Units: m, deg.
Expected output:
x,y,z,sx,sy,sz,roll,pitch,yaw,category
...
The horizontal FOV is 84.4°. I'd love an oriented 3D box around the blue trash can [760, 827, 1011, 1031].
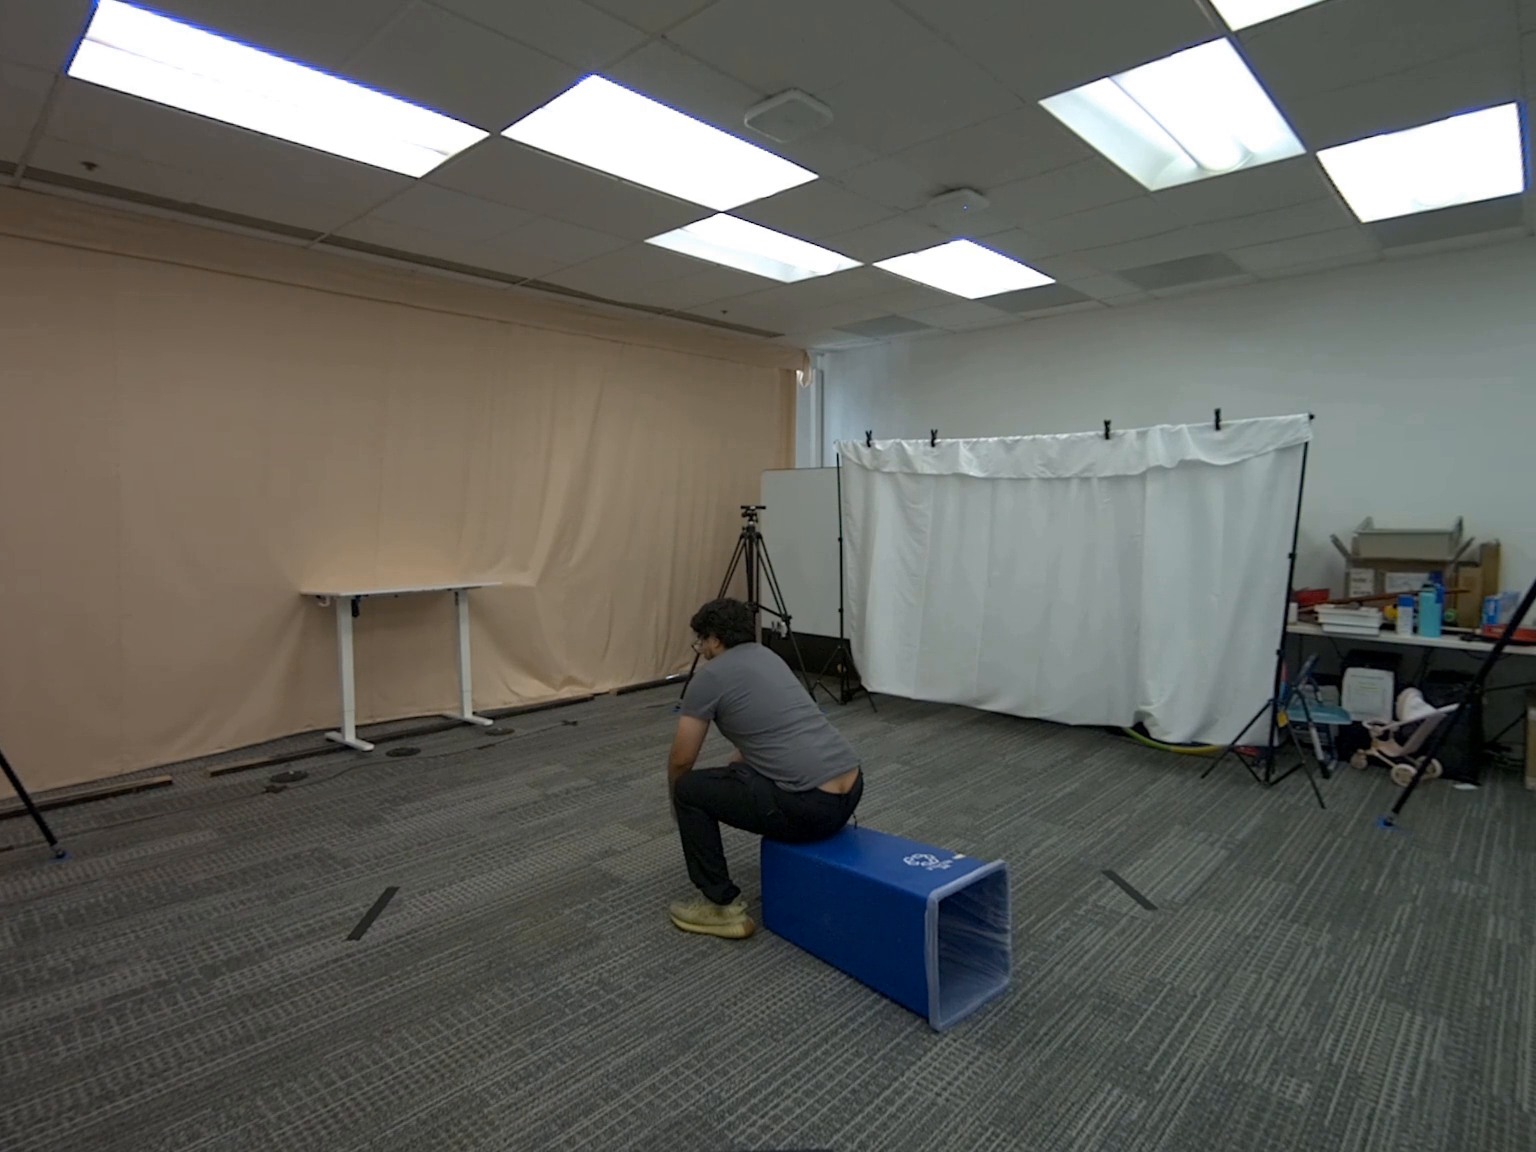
x,y,z,sx,sy,sz,roll,pitch,yaw,category
0.337,1.000,2.587,0.366,0.373,0.737,-3,4,-41,blue trash can
